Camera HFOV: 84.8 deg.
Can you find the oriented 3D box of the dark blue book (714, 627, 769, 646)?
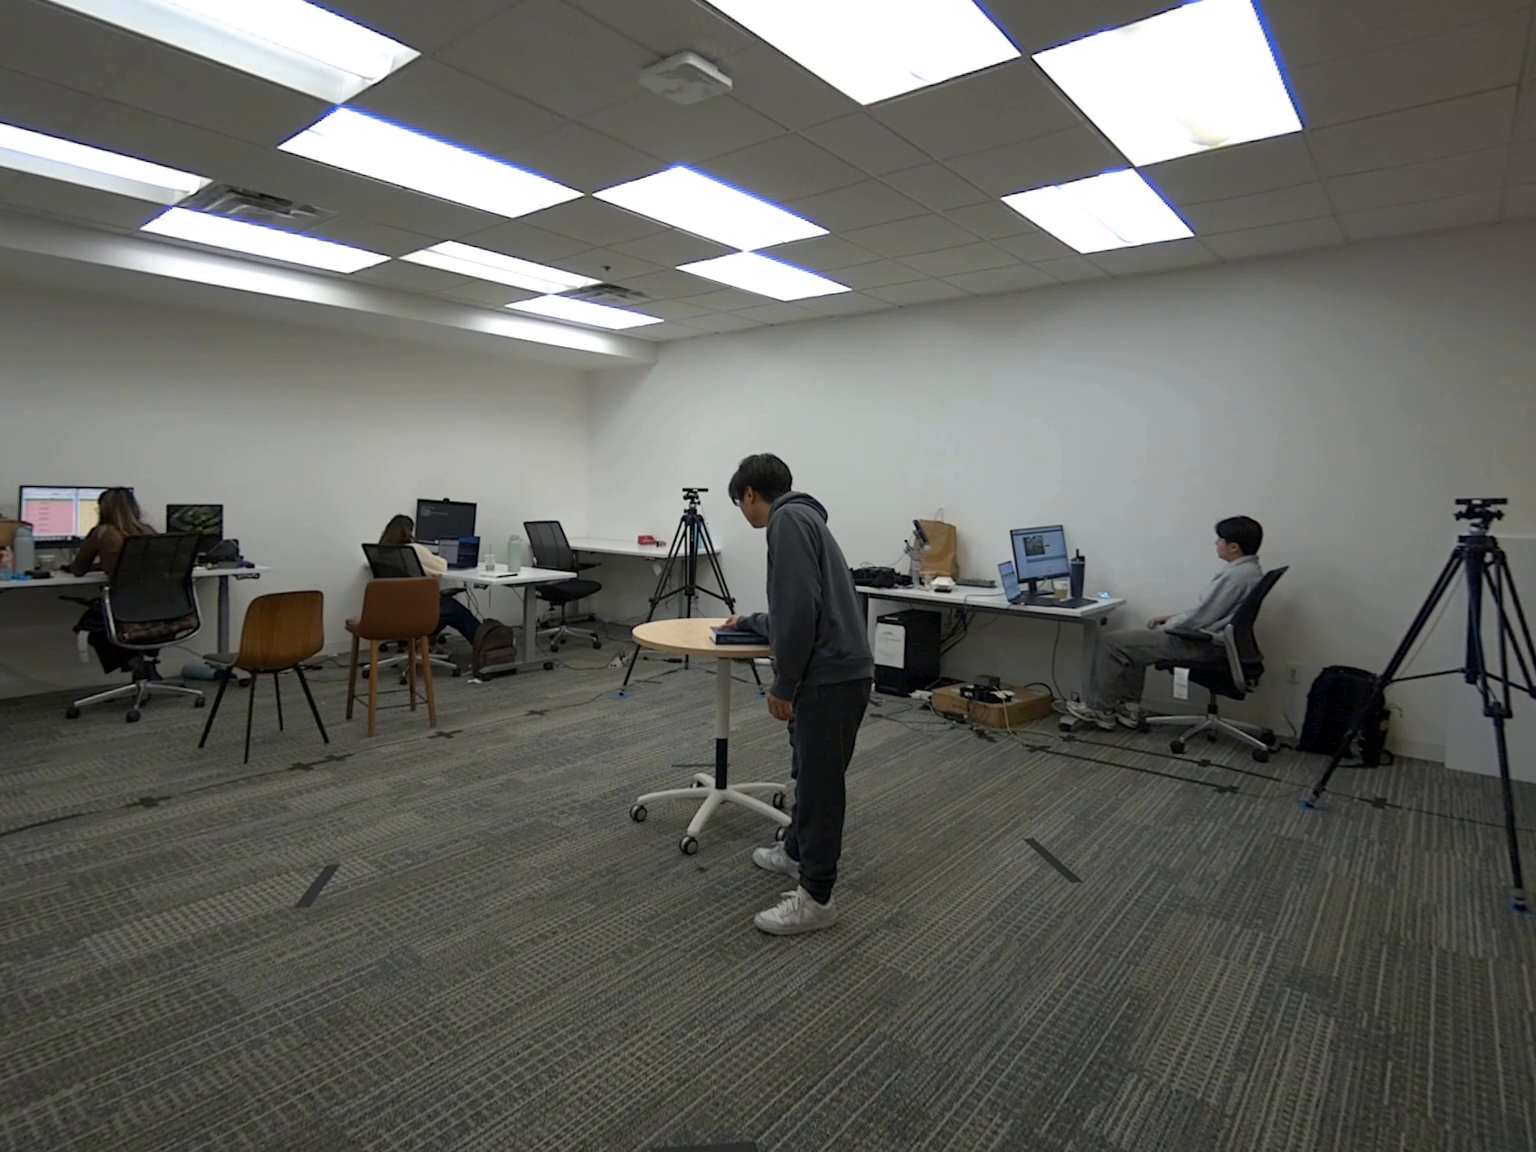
[{"bbox_3d":[-0.116,0.233,3.351,0.242,0.045,0.166,3,6,-10],"label":"dark blue book"}]
